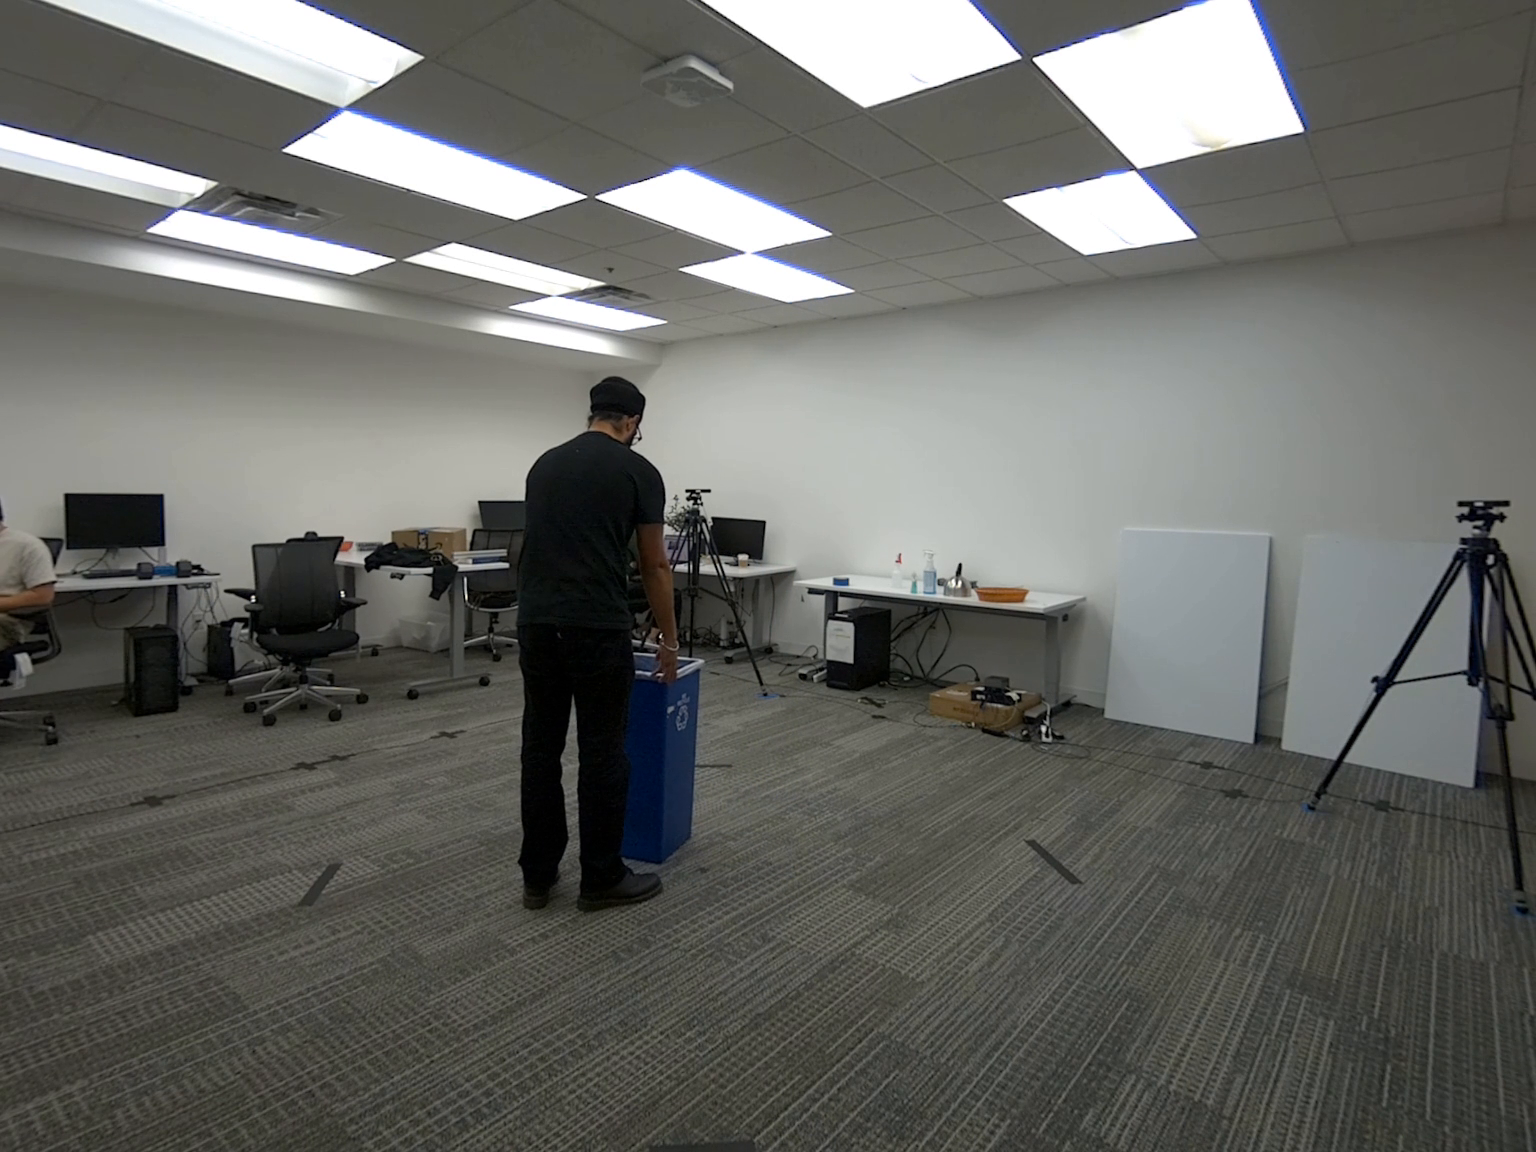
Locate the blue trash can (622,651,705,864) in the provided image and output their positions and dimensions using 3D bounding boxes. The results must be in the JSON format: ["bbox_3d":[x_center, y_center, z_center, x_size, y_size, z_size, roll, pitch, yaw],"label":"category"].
[{"bbox_3d":[-0.490,0.691,3.320,0.386,0.712,0.367,2,2,20],"label":"blue trash can"}]
